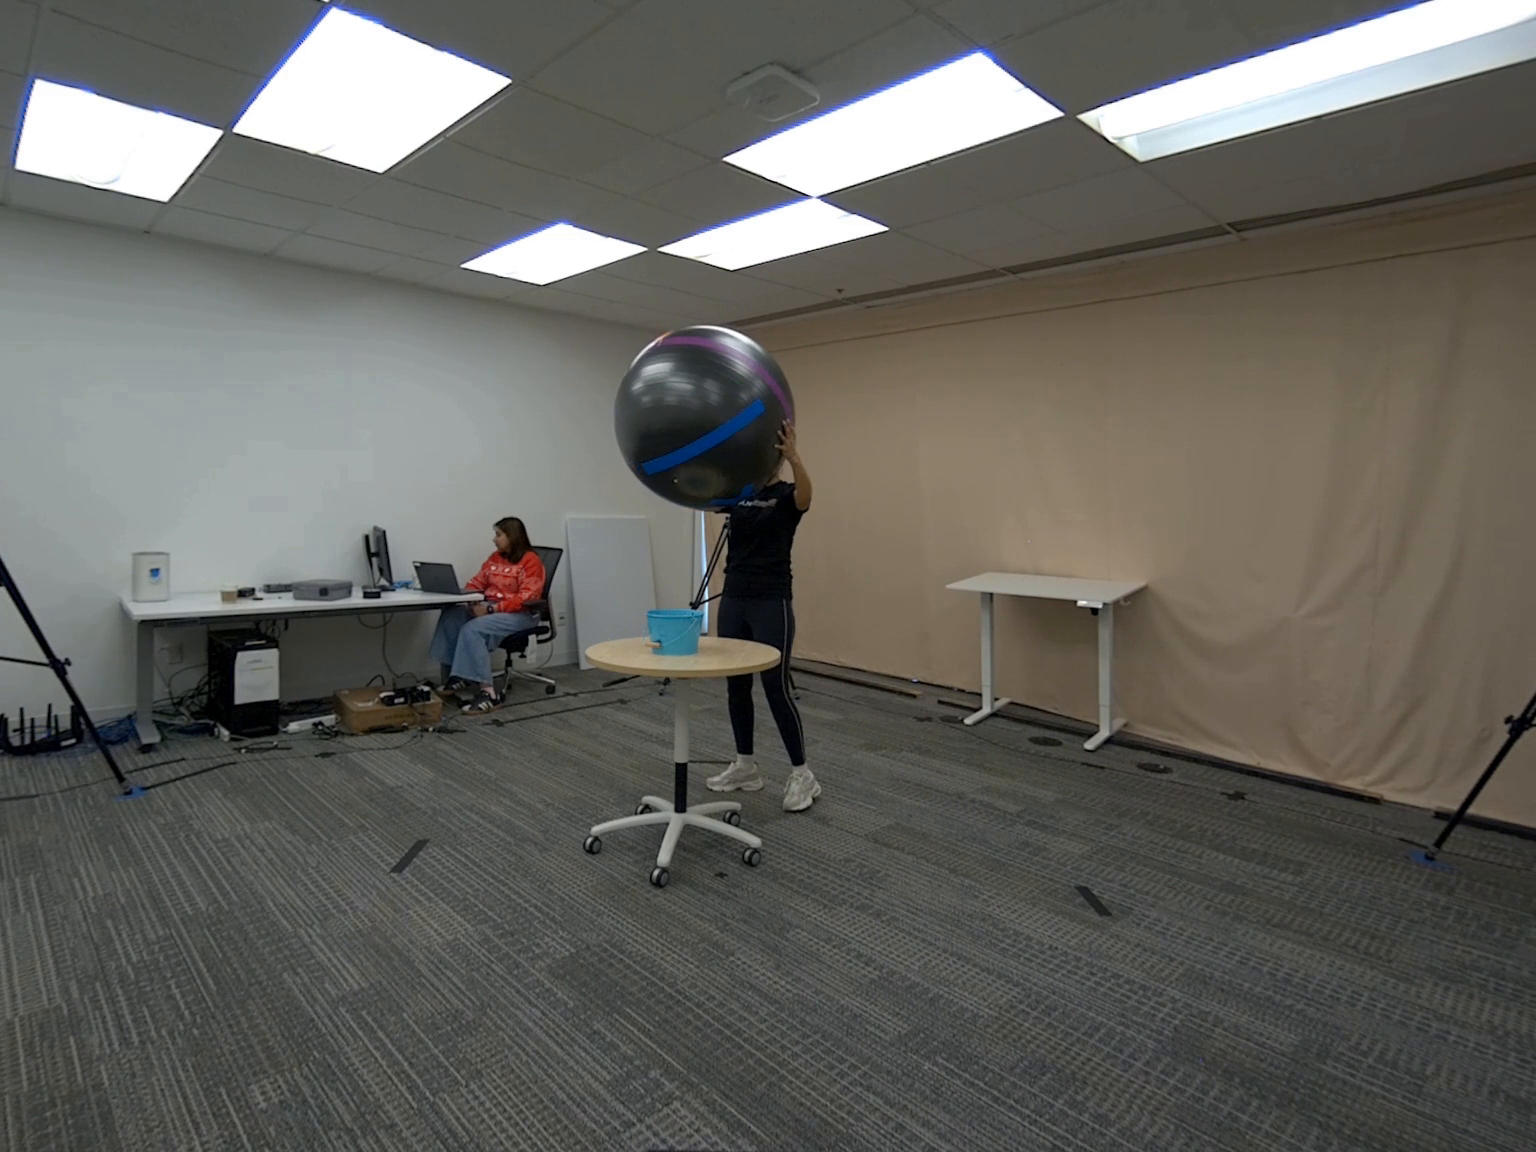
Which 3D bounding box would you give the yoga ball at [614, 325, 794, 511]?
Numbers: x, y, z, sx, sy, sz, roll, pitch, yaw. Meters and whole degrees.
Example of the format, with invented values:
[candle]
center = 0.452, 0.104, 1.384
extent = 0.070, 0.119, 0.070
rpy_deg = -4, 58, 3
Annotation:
[yoga ball]
center = -0.269, -0.654, 3.530
extent = 0.757, 0.756, 0.761
rpy_deg = 1, 4, -1
